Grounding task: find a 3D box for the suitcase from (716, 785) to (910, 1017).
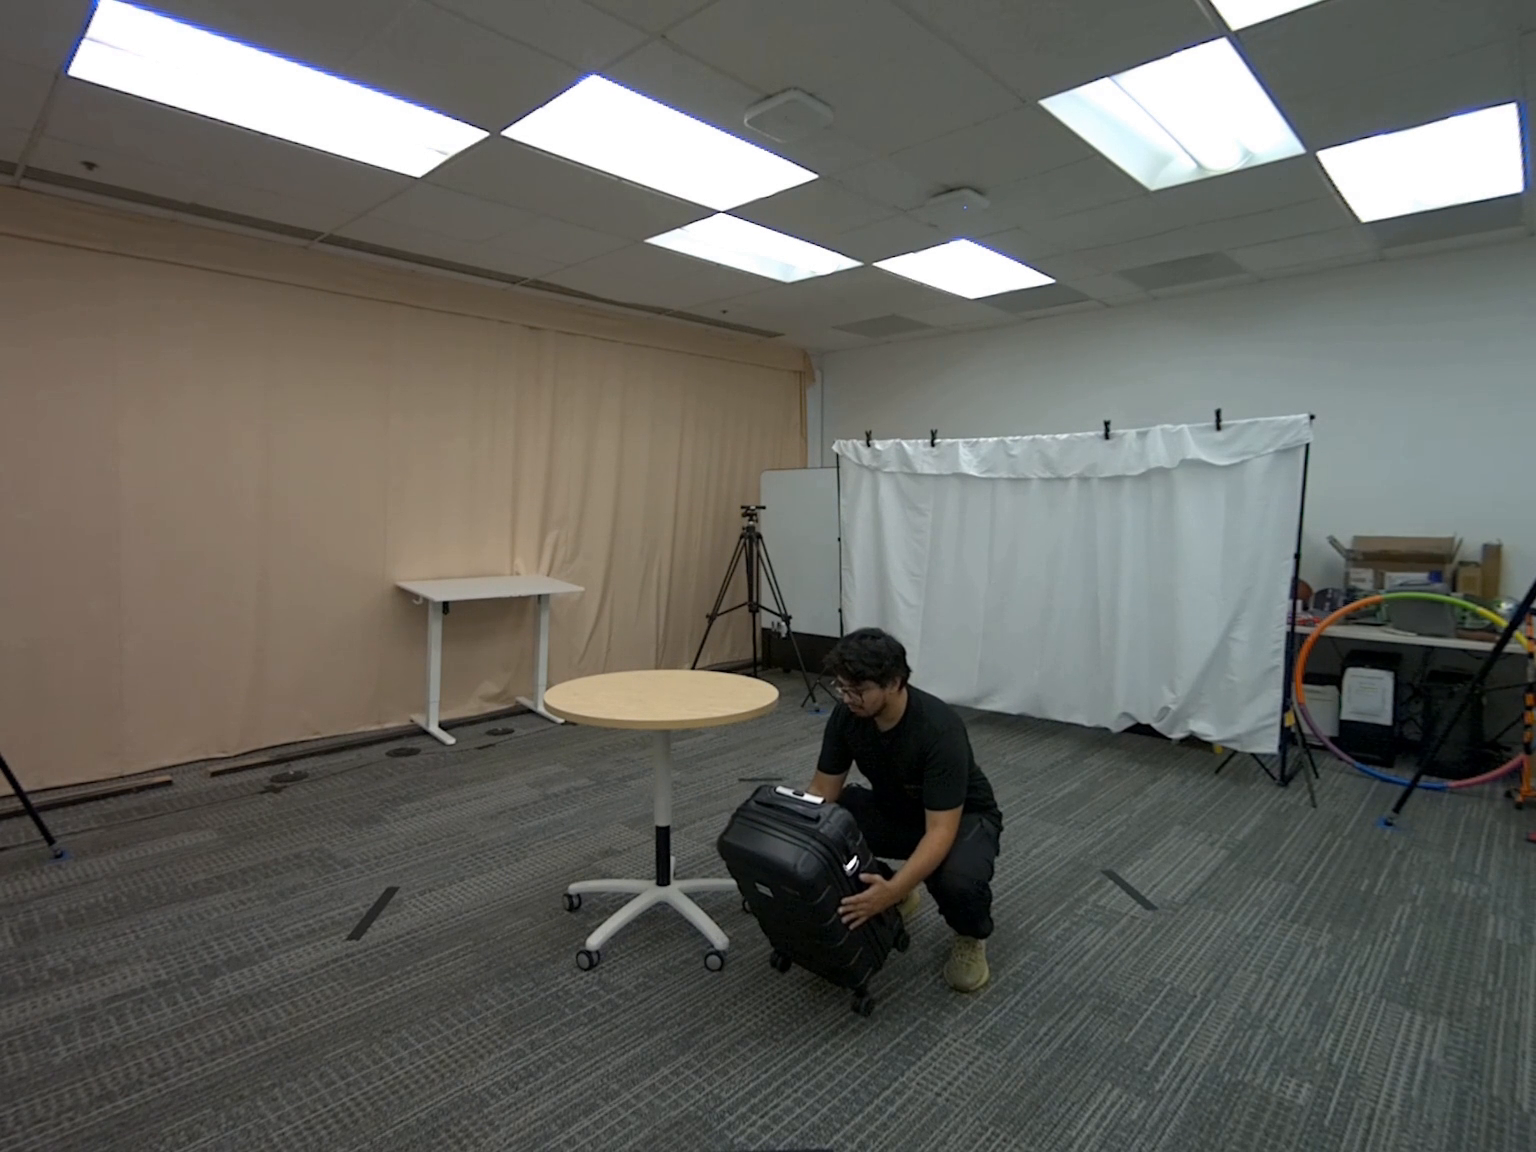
[{"bbox_3d":[0.121,0.861,2.276,0.388,0.537,0.245,3,35,45],"label":"suitcase"}]
